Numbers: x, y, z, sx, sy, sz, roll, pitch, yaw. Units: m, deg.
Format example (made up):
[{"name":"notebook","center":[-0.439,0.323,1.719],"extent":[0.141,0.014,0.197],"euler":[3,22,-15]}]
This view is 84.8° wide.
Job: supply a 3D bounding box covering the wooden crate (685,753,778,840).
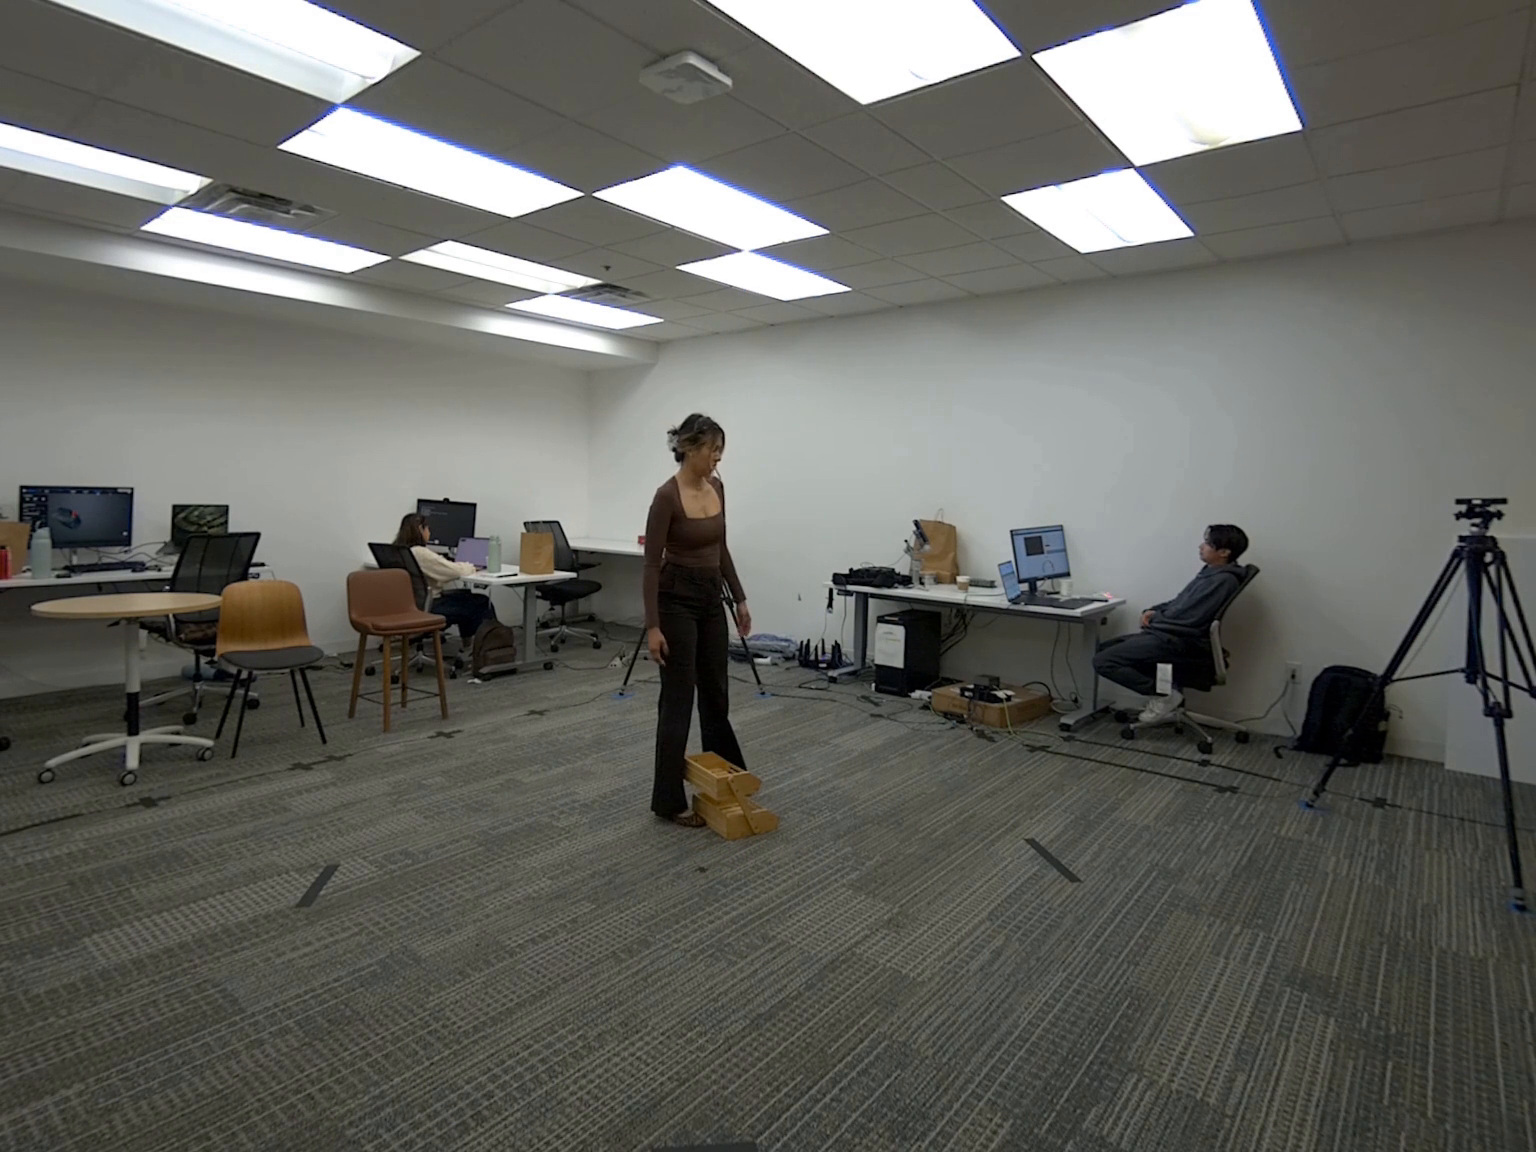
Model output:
[{"name":"wooden crate","center":[-0.163,0.893,3.549],"extent":[0.294,0.272,0.334],"euler":[-3,6,-32]}]
